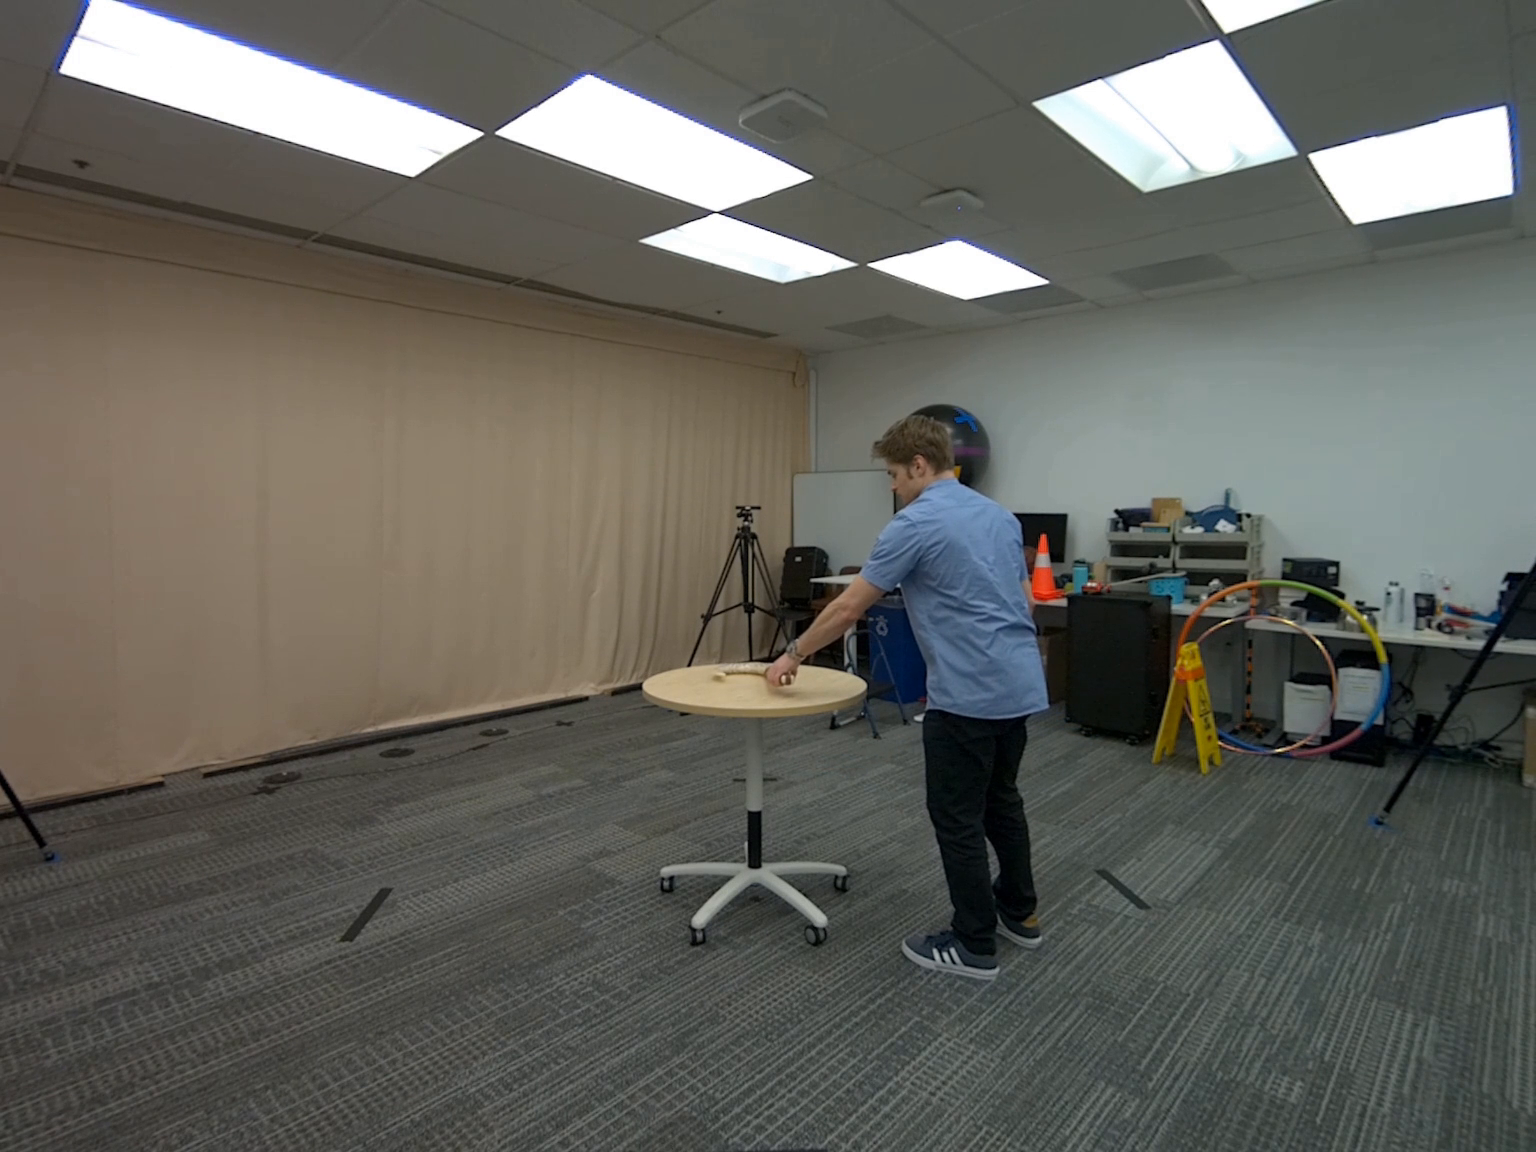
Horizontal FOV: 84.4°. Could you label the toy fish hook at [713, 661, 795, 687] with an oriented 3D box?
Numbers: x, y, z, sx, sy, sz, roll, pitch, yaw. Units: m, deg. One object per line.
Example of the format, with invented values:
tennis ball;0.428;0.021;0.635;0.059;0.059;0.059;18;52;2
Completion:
toy fish hook;-0.049;0.341;2.862;0.222;0.048;0.513;-8;0;-14
